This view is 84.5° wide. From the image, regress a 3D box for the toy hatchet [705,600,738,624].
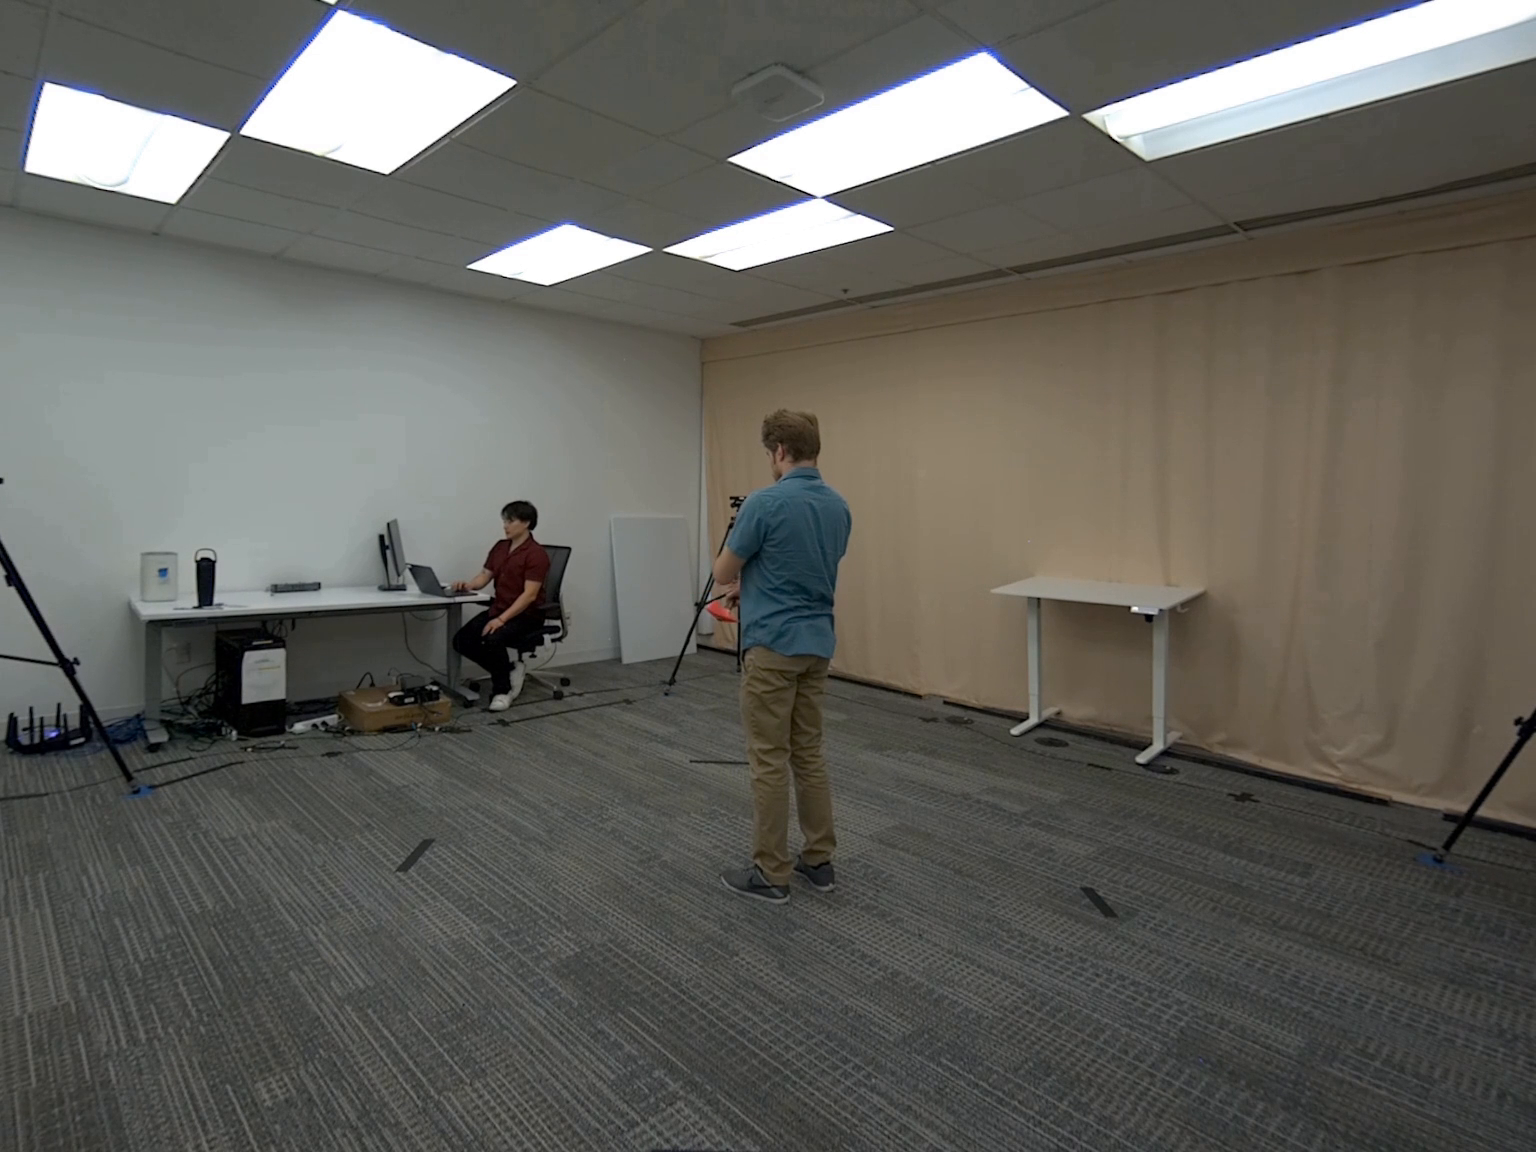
[{"bbox_3d":[-0.163,0.080,3.269,0.131,0.029,0.275,7,43,1],"label":"toy hatchet"}]
